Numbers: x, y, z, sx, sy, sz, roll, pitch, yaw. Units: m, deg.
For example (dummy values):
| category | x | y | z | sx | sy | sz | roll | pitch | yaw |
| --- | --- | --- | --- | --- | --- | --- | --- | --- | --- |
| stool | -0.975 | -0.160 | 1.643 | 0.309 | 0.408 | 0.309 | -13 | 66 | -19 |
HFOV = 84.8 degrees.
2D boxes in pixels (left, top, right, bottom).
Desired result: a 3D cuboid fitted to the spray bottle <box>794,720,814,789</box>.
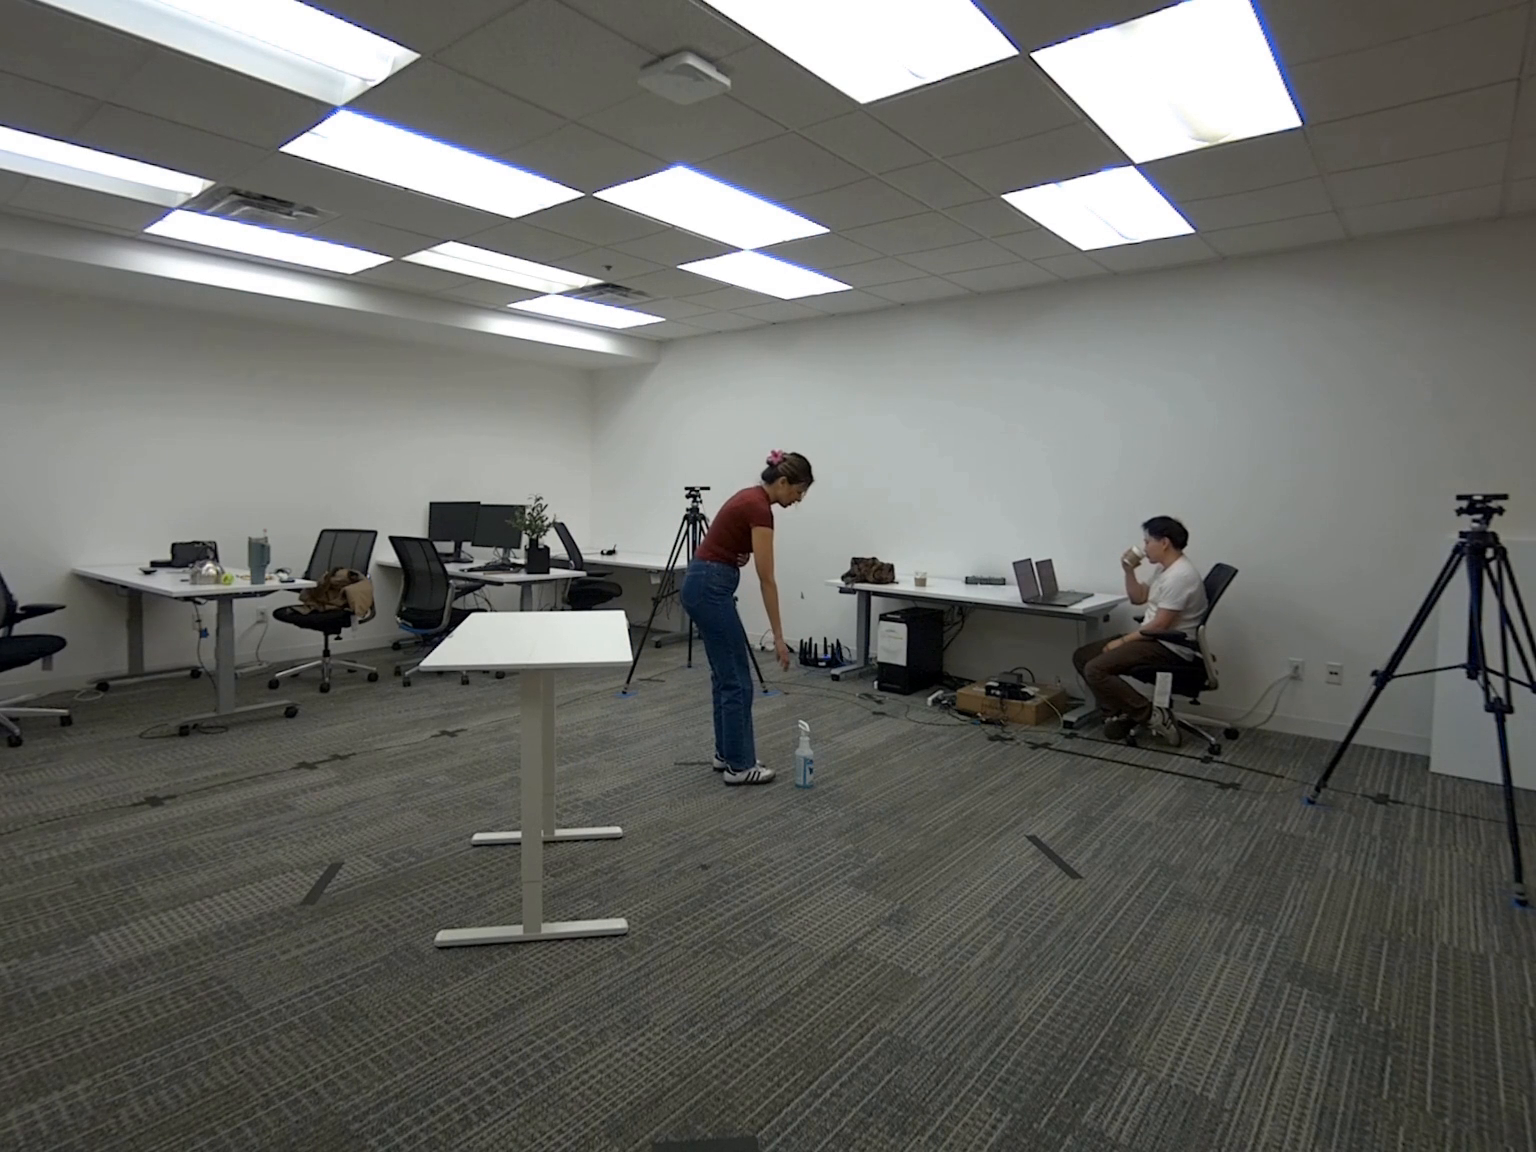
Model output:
| category | x | y | z | sx | sy | sz | roll | pitch | yaw |
| --- | --- | --- | --- | --- | --- | --- | --- | --- | --- |
| spray bottle | 0.159 | 0.842 | 4.008 | 0.087 | 0.296 | 0.090 | 1 | 4 | -2 |
